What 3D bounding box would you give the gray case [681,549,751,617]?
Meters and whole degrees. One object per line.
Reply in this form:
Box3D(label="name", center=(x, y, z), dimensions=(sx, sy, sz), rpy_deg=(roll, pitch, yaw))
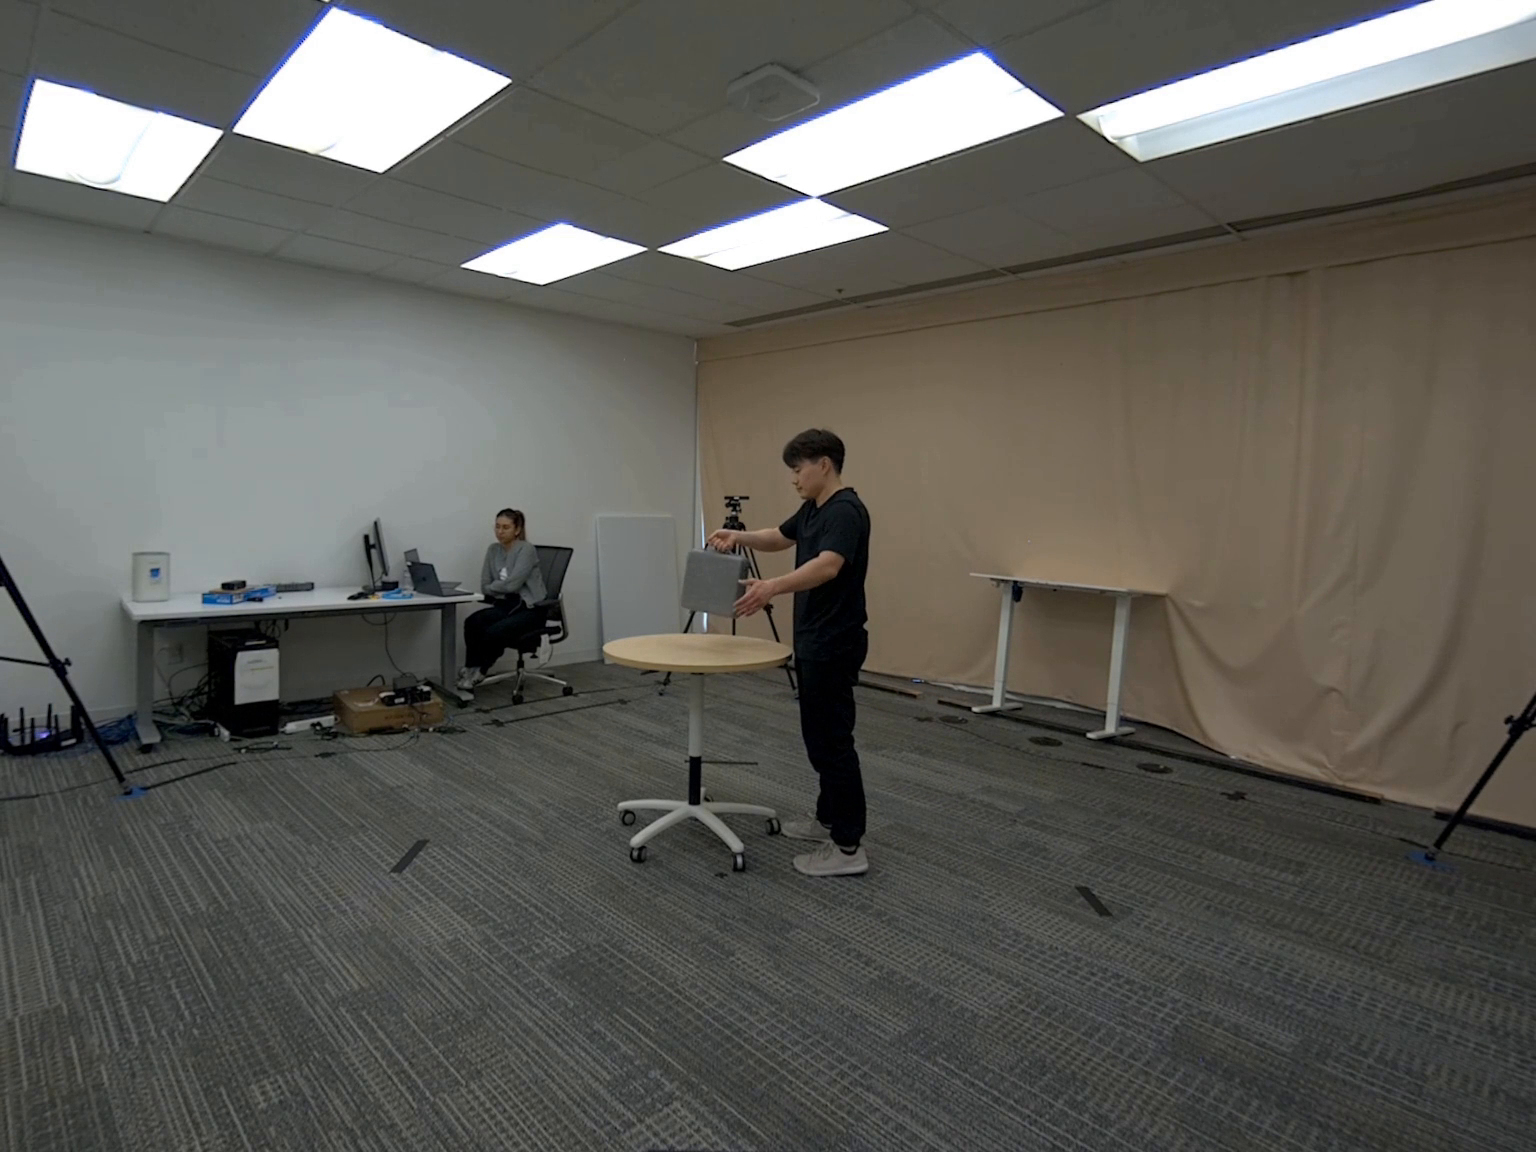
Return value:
Box3D(label="gray case", center=(-0.217, 0.024, 3.418), dimensions=(0.261, 0.259, 0.103), rpy_deg=(10, 6, 20))
